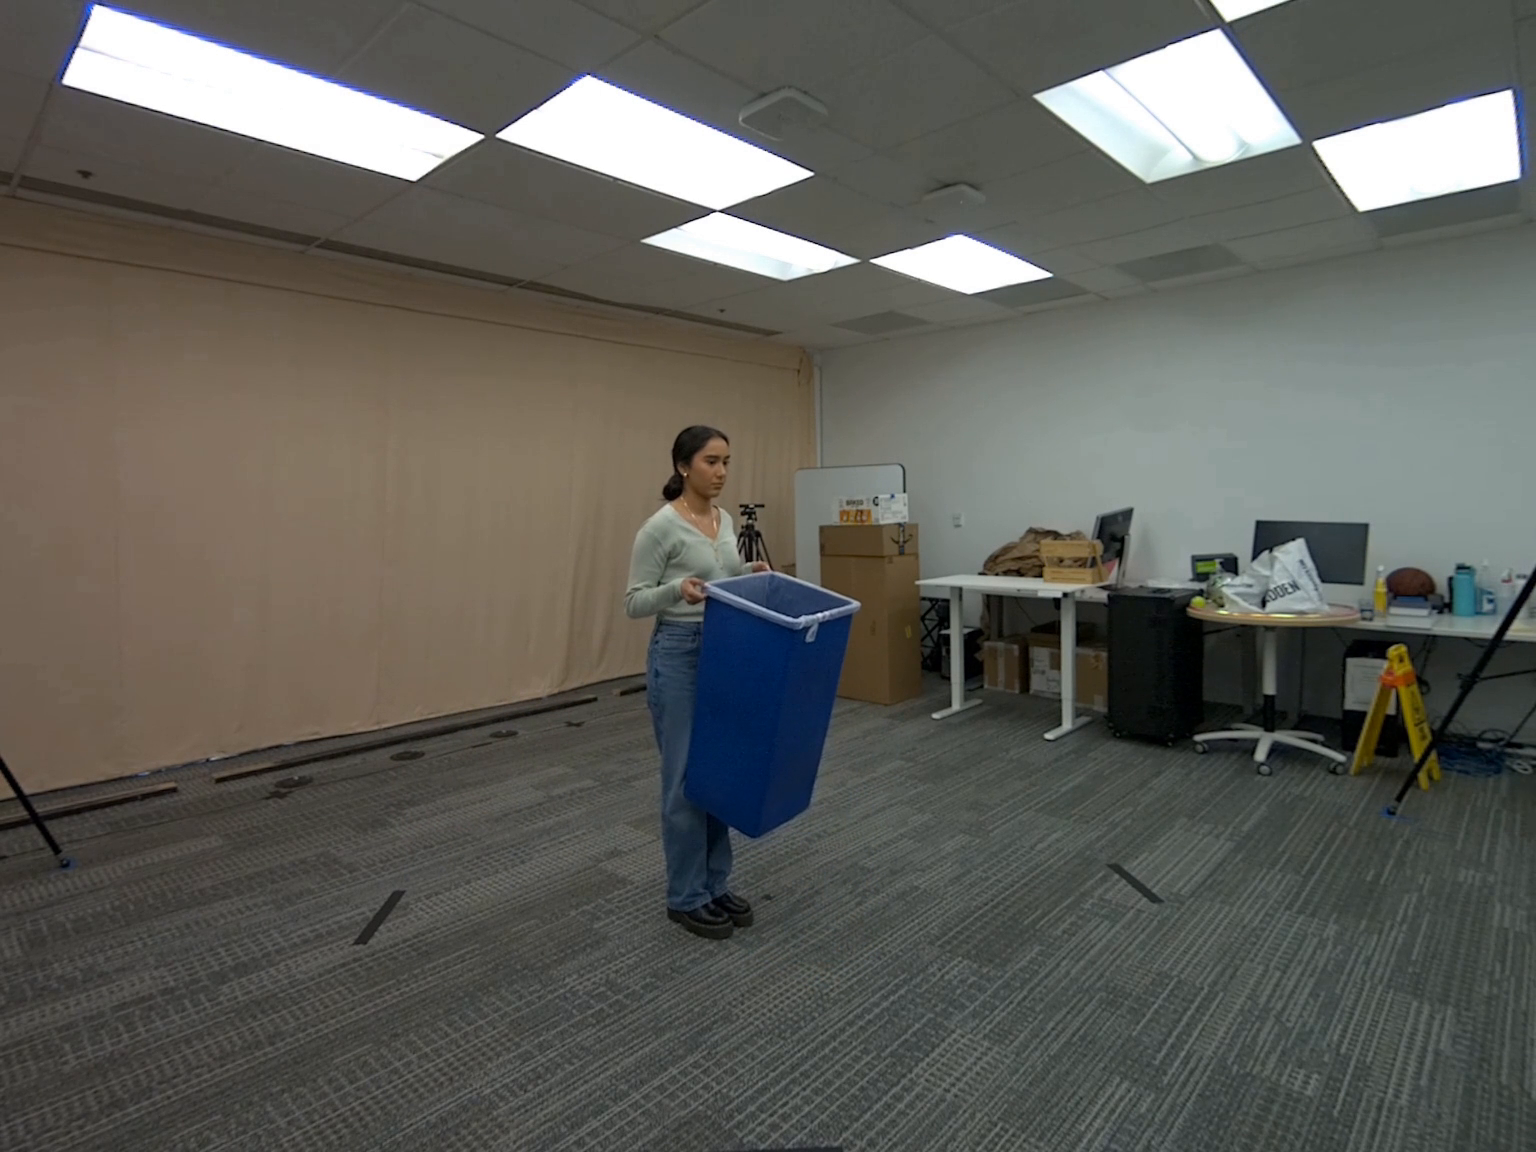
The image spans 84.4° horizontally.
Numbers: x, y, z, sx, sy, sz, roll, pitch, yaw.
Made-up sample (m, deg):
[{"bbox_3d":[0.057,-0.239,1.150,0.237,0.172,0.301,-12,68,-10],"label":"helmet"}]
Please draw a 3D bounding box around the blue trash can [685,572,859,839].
[{"bbox_3d":[-0.009,0.396,2.633,0.387,0.709,0.367,20,18,35],"label":"blue trash can"}]
